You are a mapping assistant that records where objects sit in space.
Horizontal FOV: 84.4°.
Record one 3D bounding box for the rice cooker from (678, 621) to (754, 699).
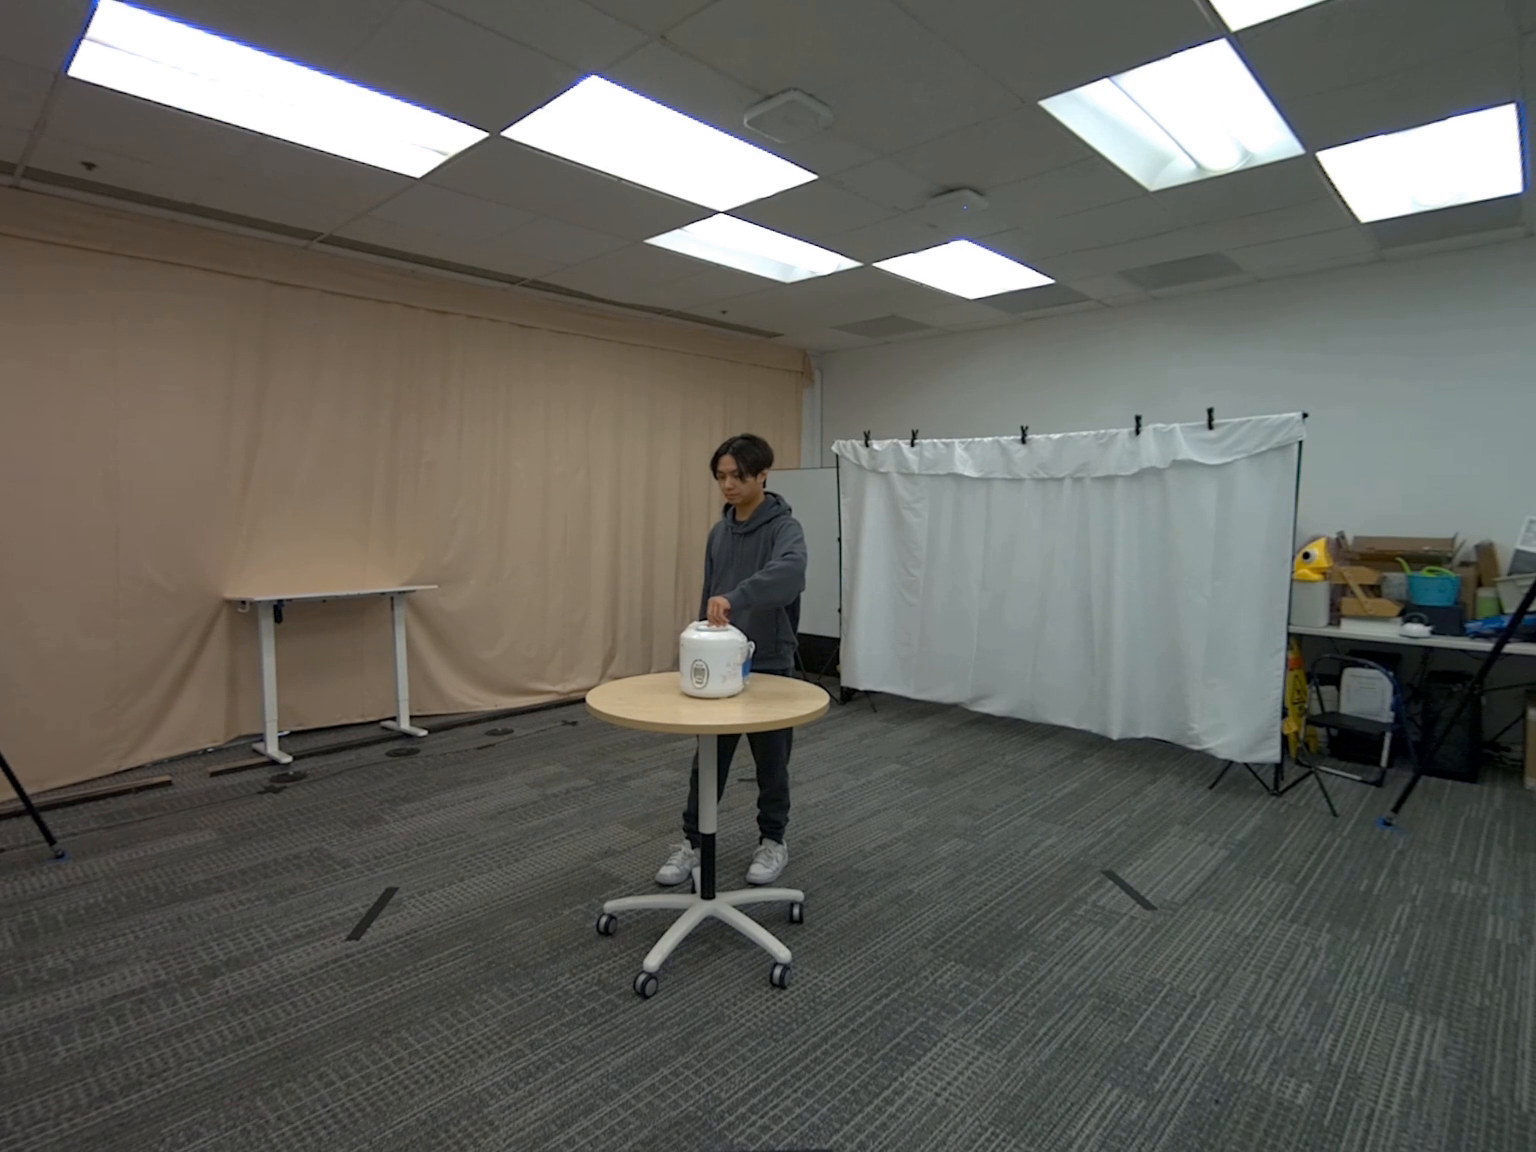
[{"bbox_3d":[-0.174,0.256,2.675,0.225,0.232,0.213,1,3,20],"label":"rice cooker"}]
